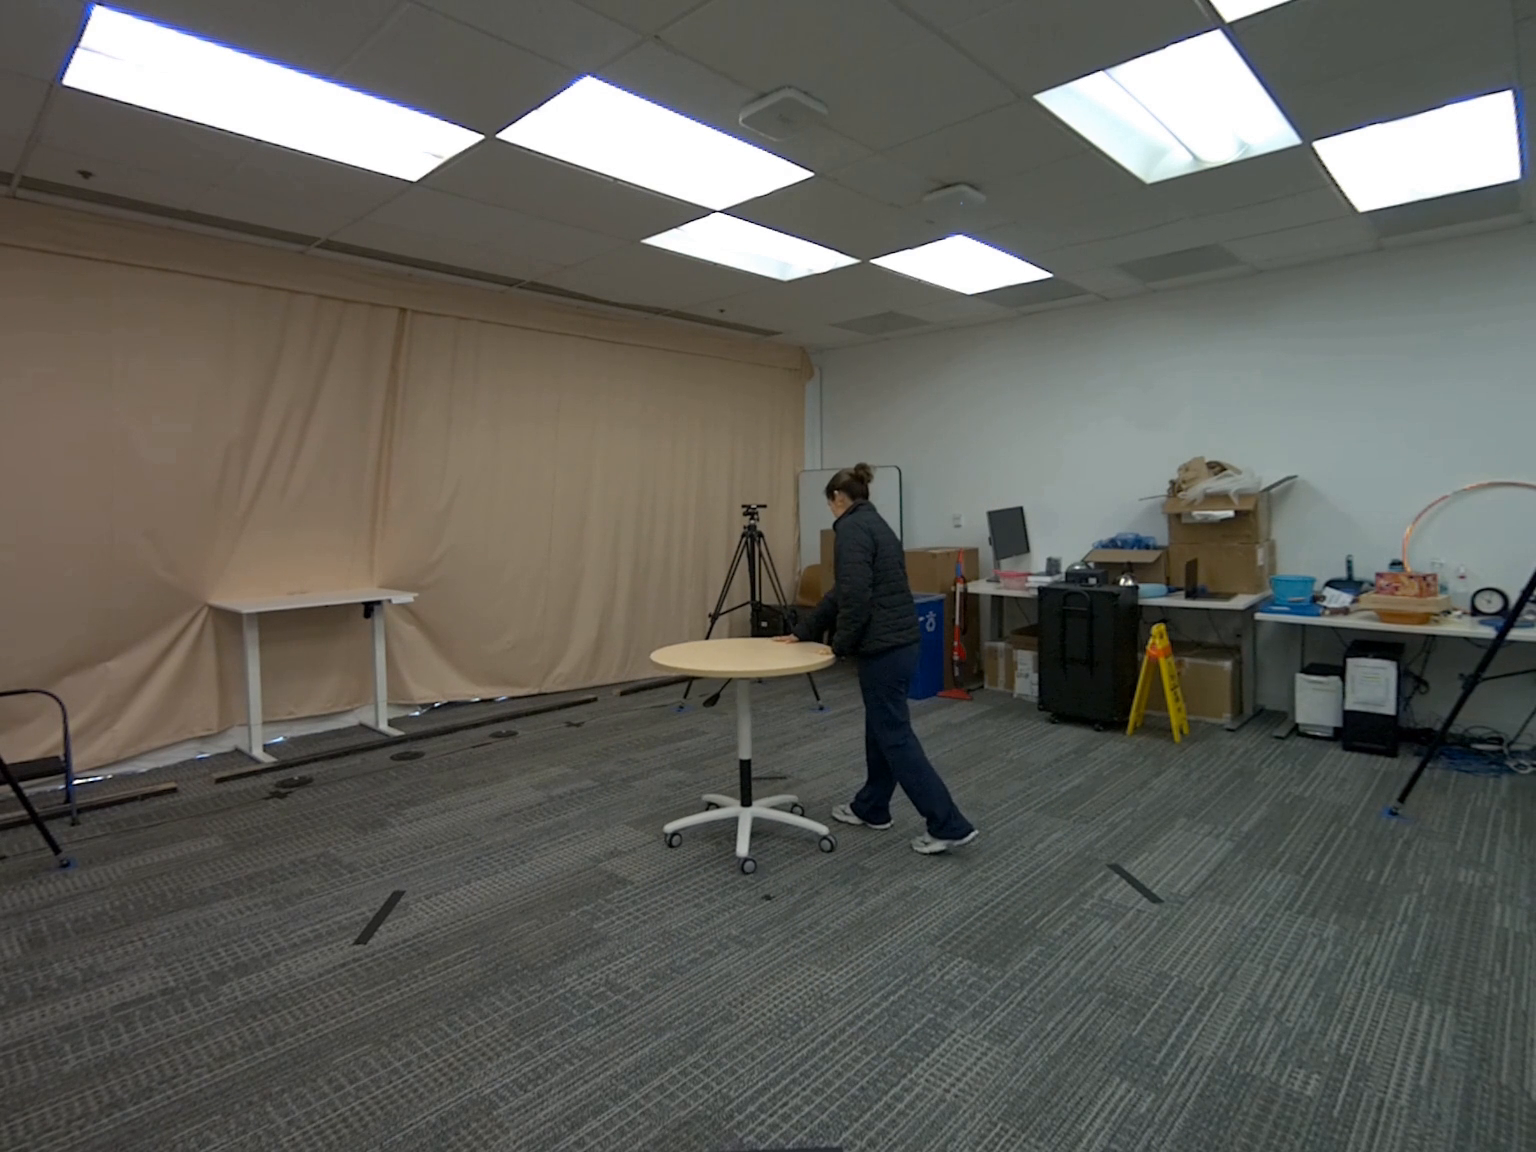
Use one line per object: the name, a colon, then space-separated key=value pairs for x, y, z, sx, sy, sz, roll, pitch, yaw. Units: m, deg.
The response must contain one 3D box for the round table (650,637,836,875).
round table: x=-0.067 y=0.706 z=3.516 sx=0.784 sy=0.785 sz=0.788 roll=-1 pitch=4 yaw=-2
